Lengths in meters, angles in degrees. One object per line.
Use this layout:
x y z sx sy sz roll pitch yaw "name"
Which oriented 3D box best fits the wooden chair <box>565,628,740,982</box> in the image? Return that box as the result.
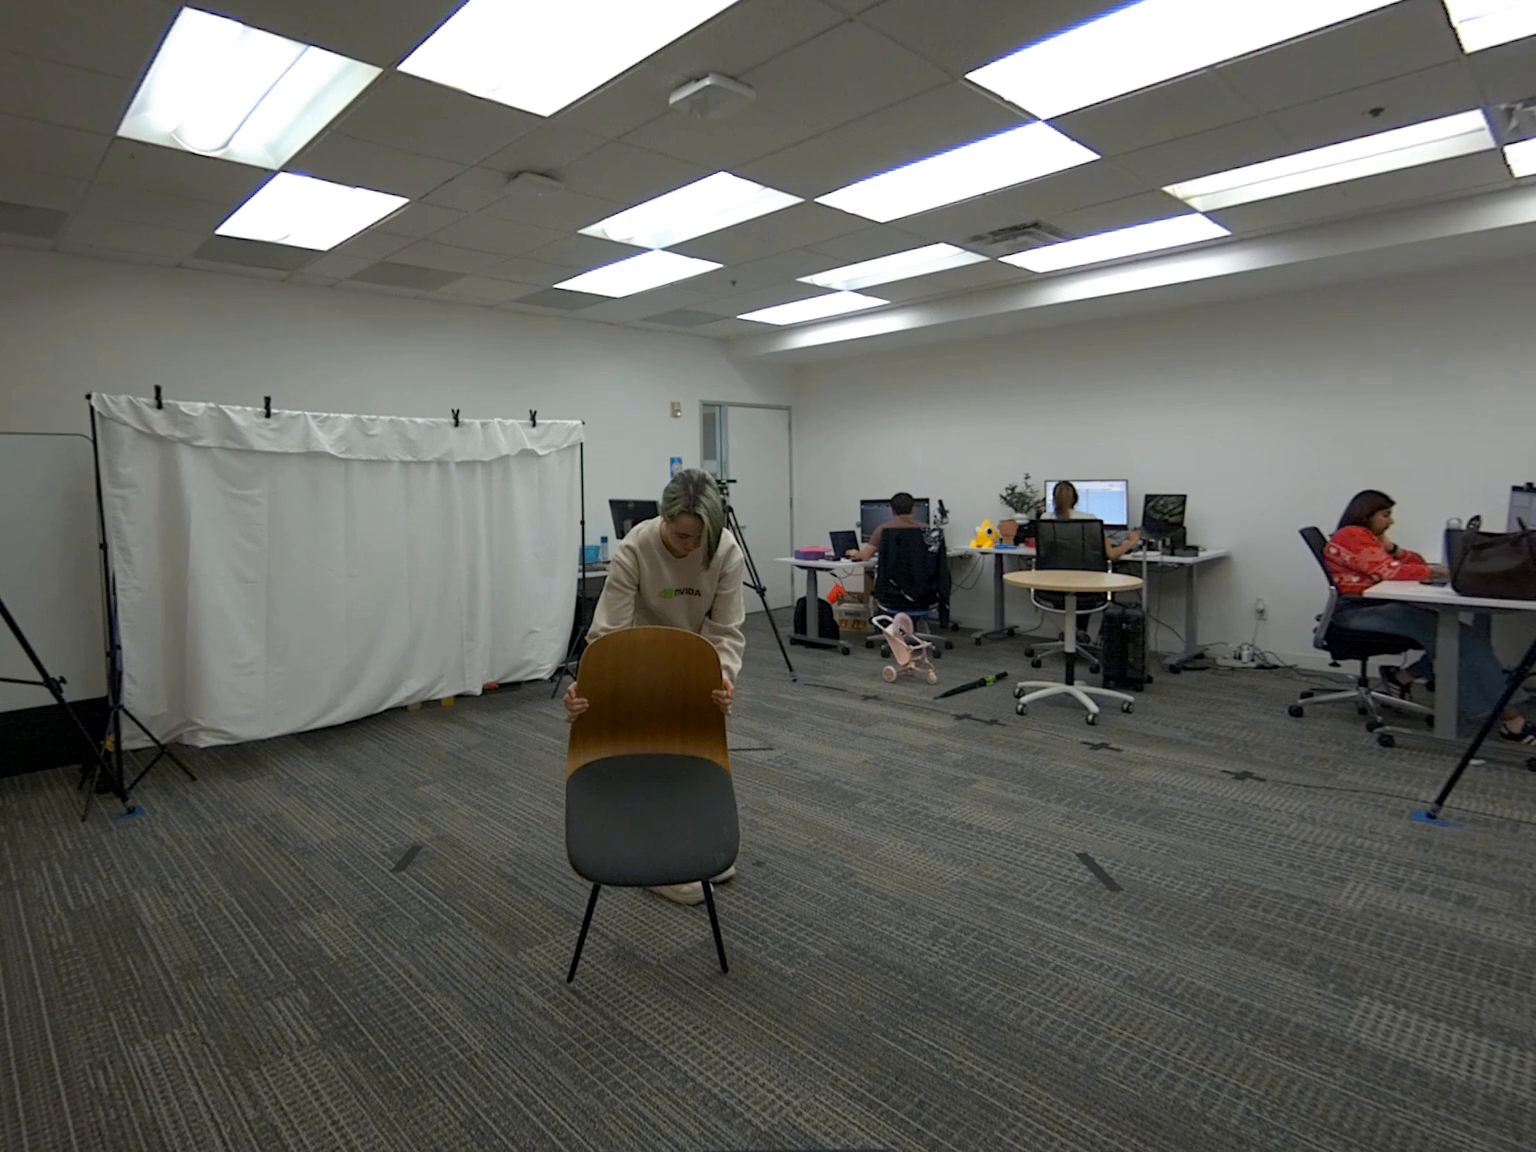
-0.322 0.655 2.371 0.474 0.861 0.538 1 26 -10 "wooden chair"
